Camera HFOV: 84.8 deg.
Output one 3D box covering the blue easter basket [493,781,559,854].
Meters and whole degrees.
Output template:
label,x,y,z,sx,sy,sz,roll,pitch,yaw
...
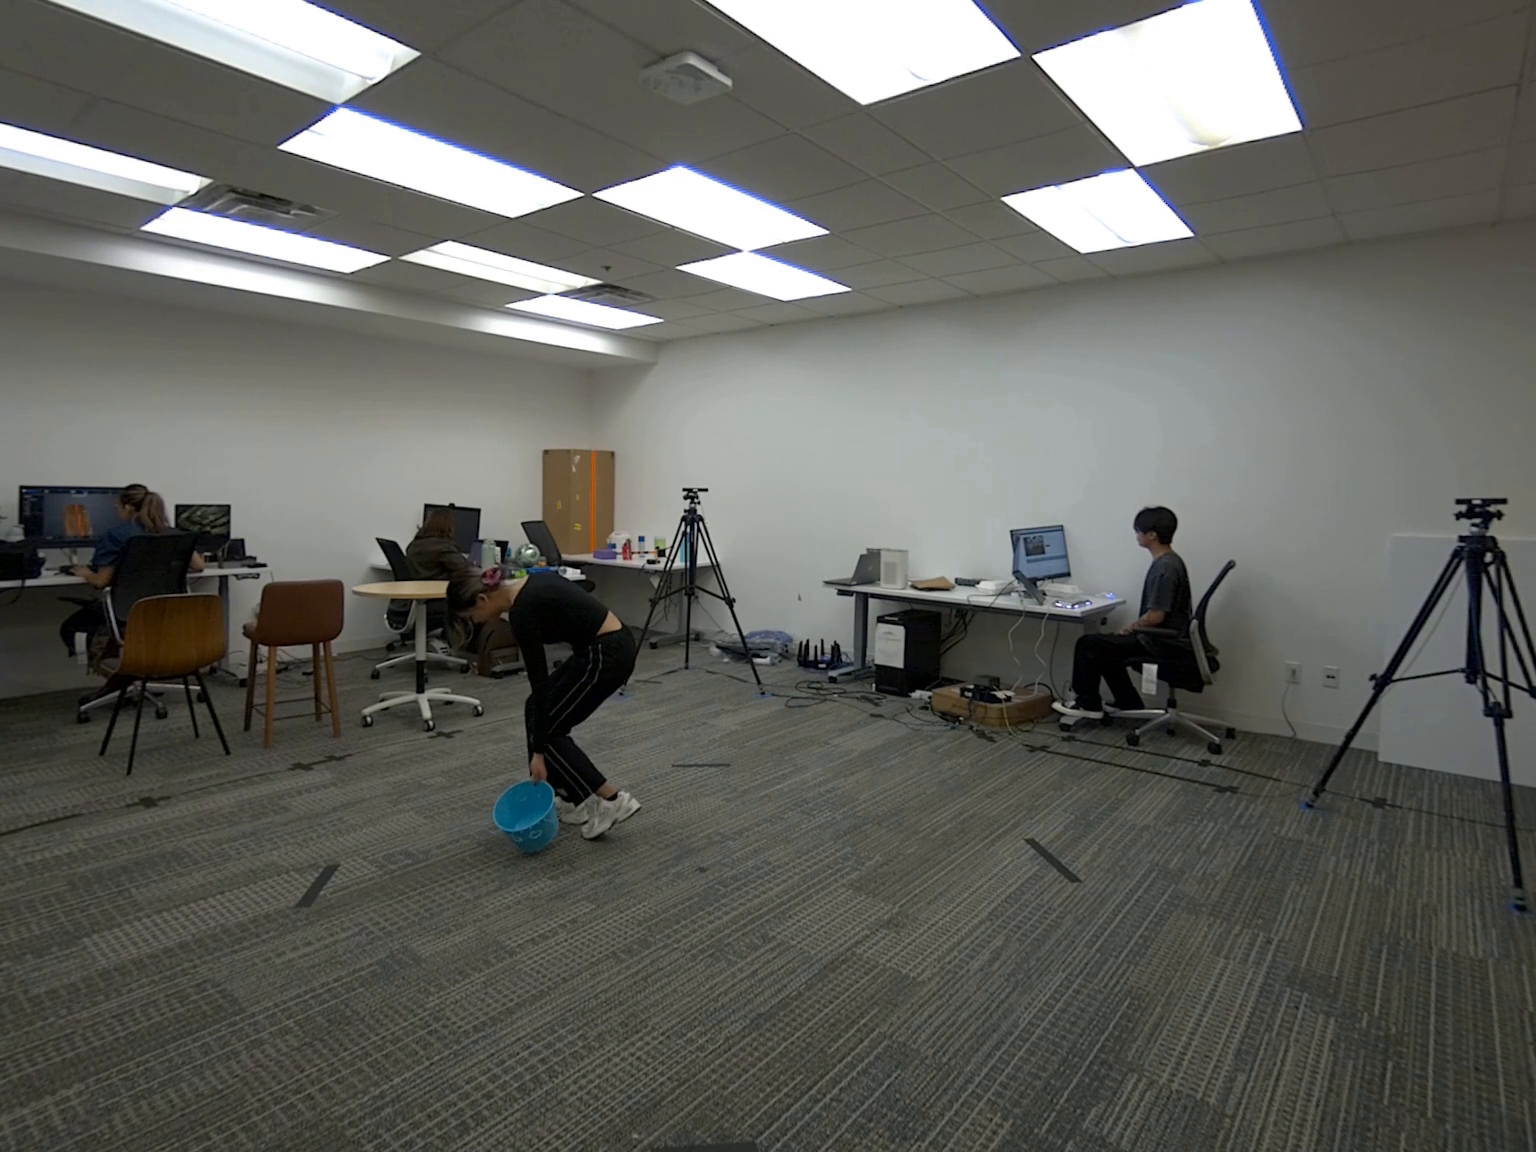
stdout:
label,x,y,z,sx,sy,sz,roll,pitch,yaw
blue easter basket,-0.902,0.912,3.194,0.245,0.151,0.250,-13,33,6
